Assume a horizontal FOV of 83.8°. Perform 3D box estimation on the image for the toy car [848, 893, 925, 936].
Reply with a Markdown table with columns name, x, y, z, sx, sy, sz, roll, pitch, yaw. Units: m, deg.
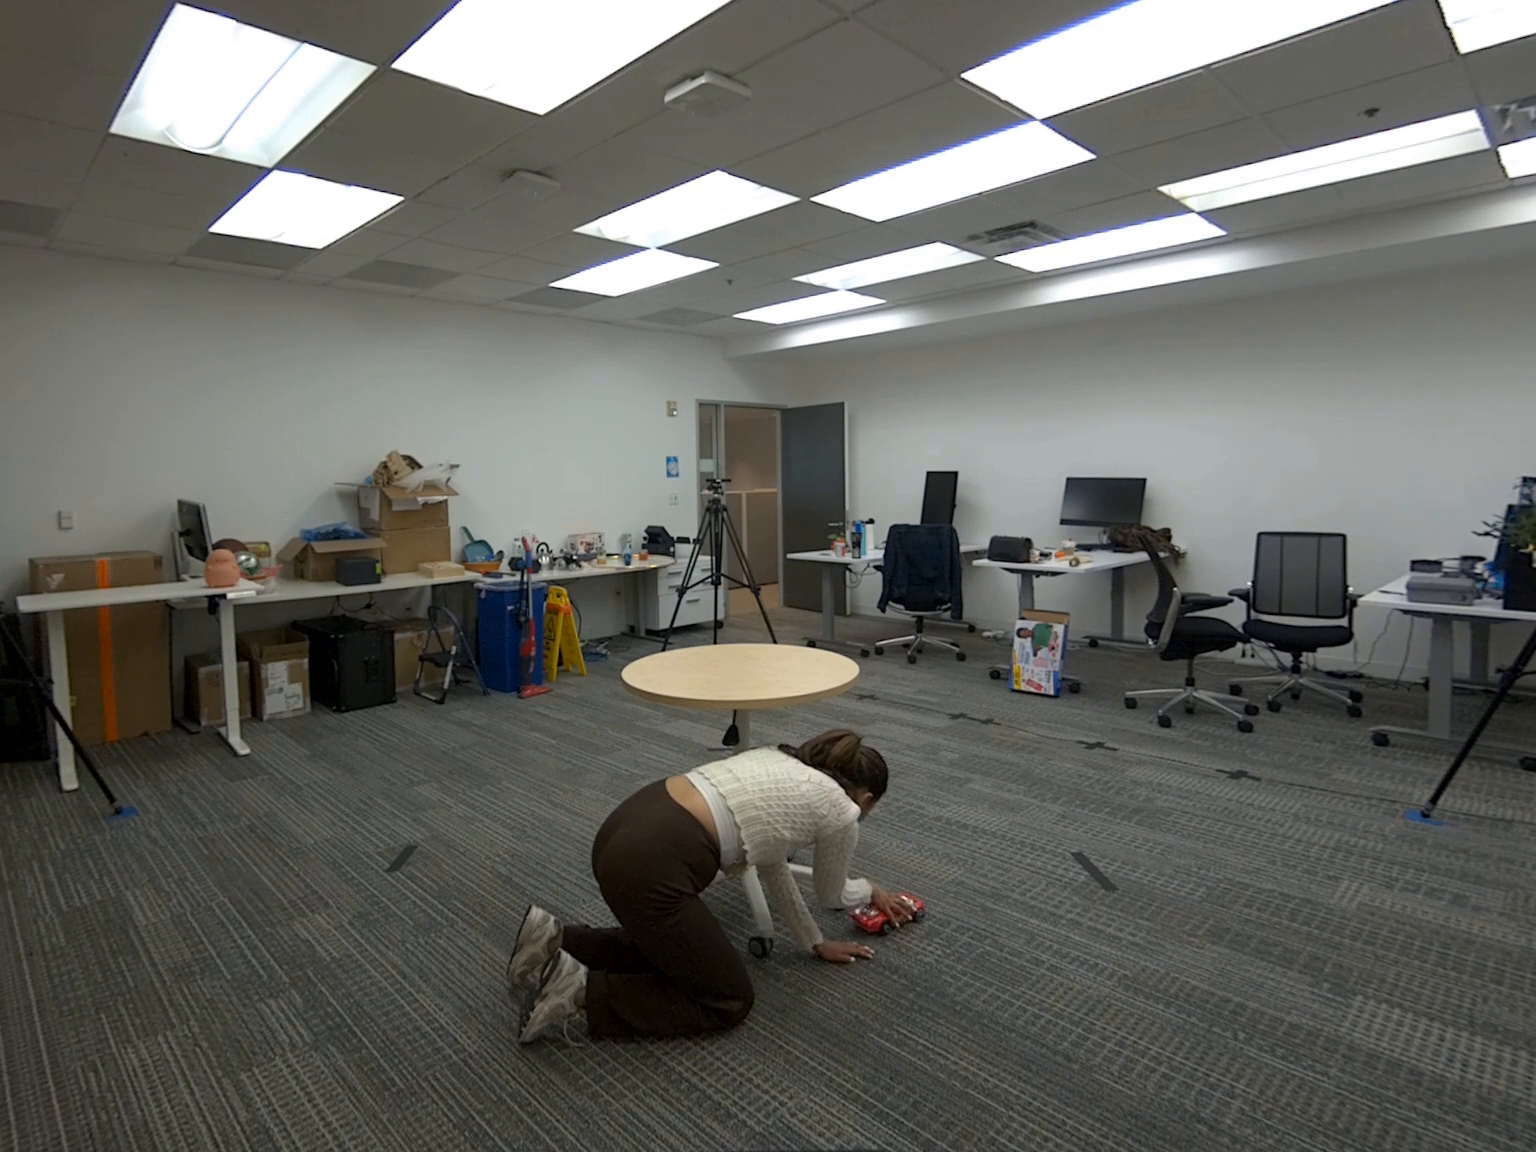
| name | x | y | z | sx | sy | sz | roll | pitch | yaw |
| --- | --- | --- | --- | --- | --- | --- | --- | --- | --- |
| toy car | 0.376 | 1.061 | 2.671 | 0.247 | 0.083 | 0.134 | 6 | 3 | -33 |
